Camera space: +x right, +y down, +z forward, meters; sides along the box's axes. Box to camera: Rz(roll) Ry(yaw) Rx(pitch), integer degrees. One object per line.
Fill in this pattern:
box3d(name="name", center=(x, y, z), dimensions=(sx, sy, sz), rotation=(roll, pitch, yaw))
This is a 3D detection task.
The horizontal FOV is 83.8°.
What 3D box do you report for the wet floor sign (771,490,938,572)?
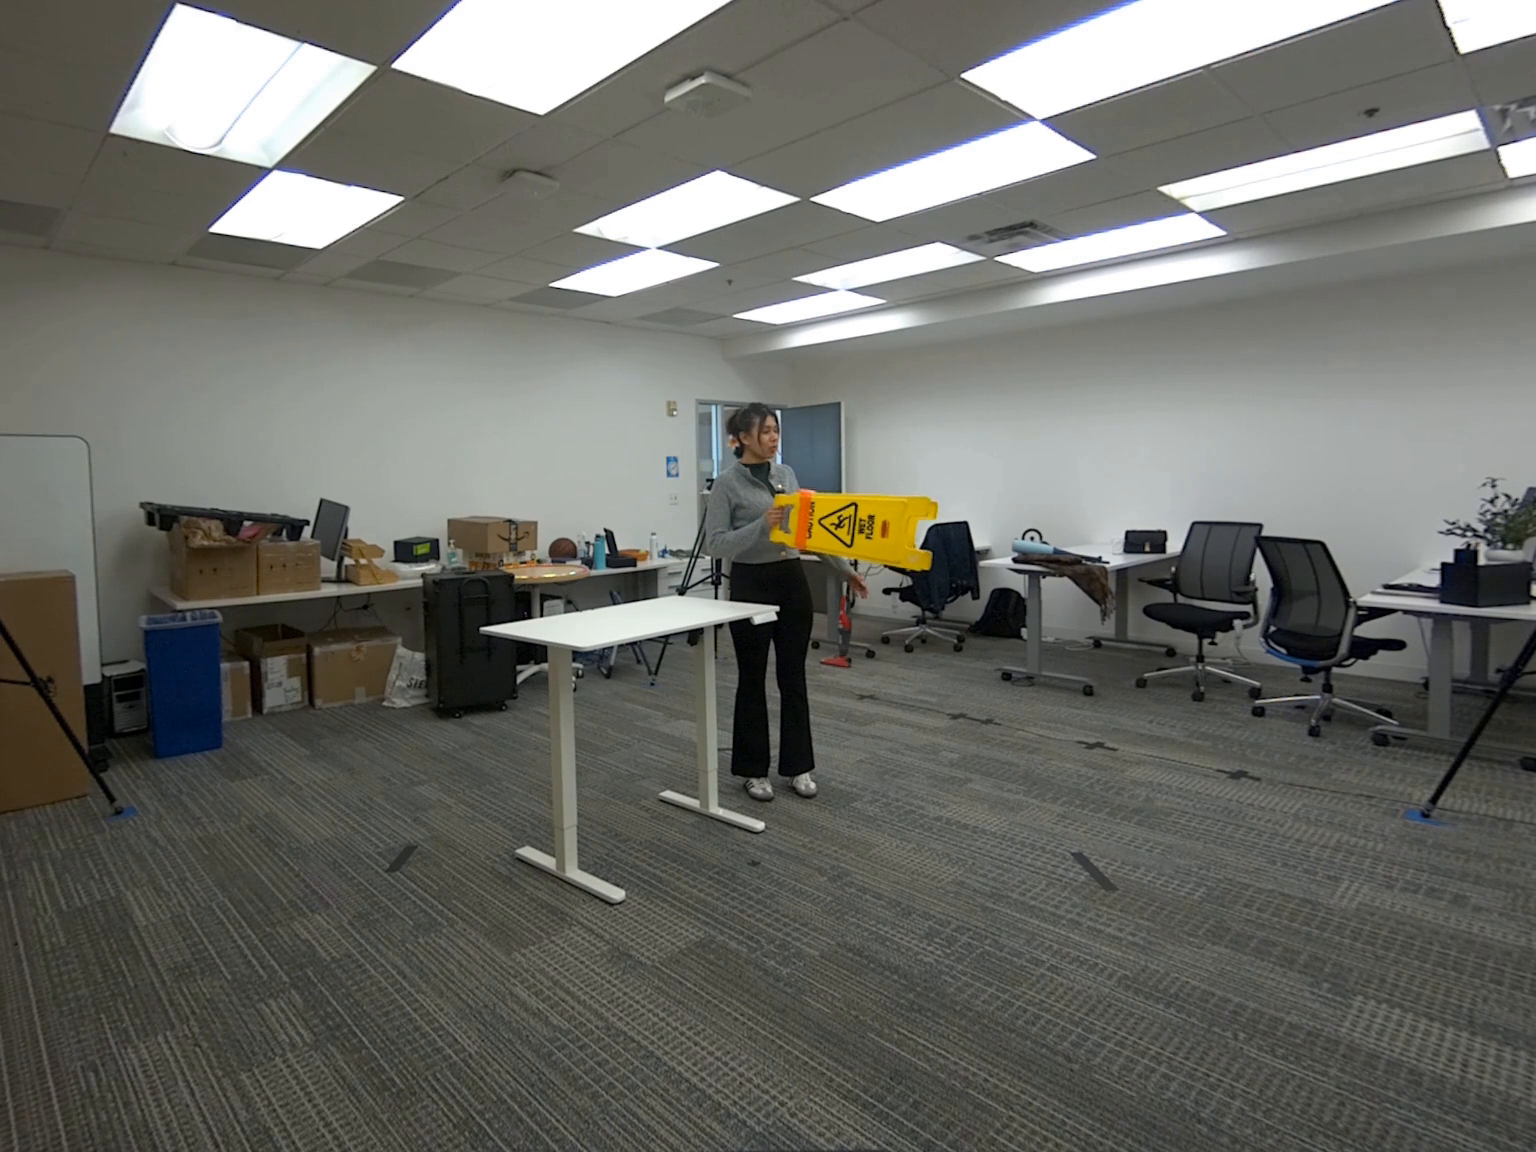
box3d(name="wet floor sign", center=(0.318, -0.200, 3.421), dimensions=(0.658, 0.282, 0.285), rotation=(8, 3, 18))
